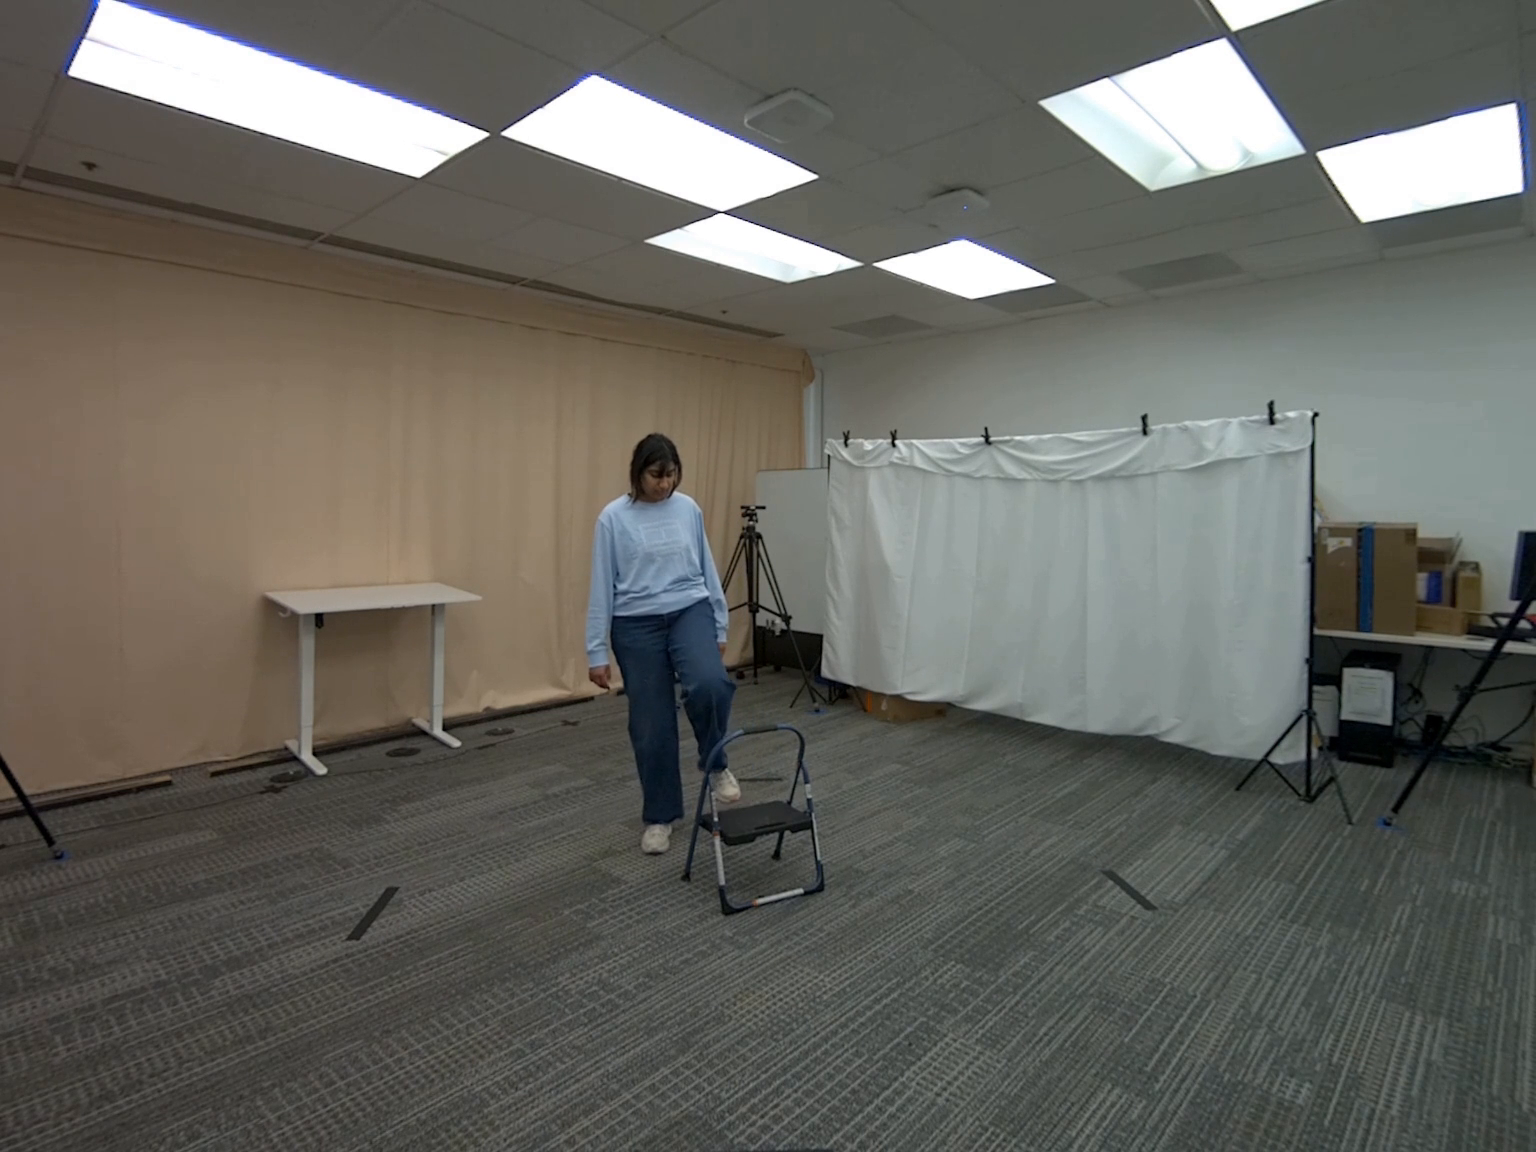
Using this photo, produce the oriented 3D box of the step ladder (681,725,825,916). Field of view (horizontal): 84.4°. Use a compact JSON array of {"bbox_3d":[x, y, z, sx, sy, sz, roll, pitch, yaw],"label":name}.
[{"bbox_3d":[-0.055,0.833,3.082,0.419,0.605,0.359,-2,4,-30],"label":"step ladder"}]
